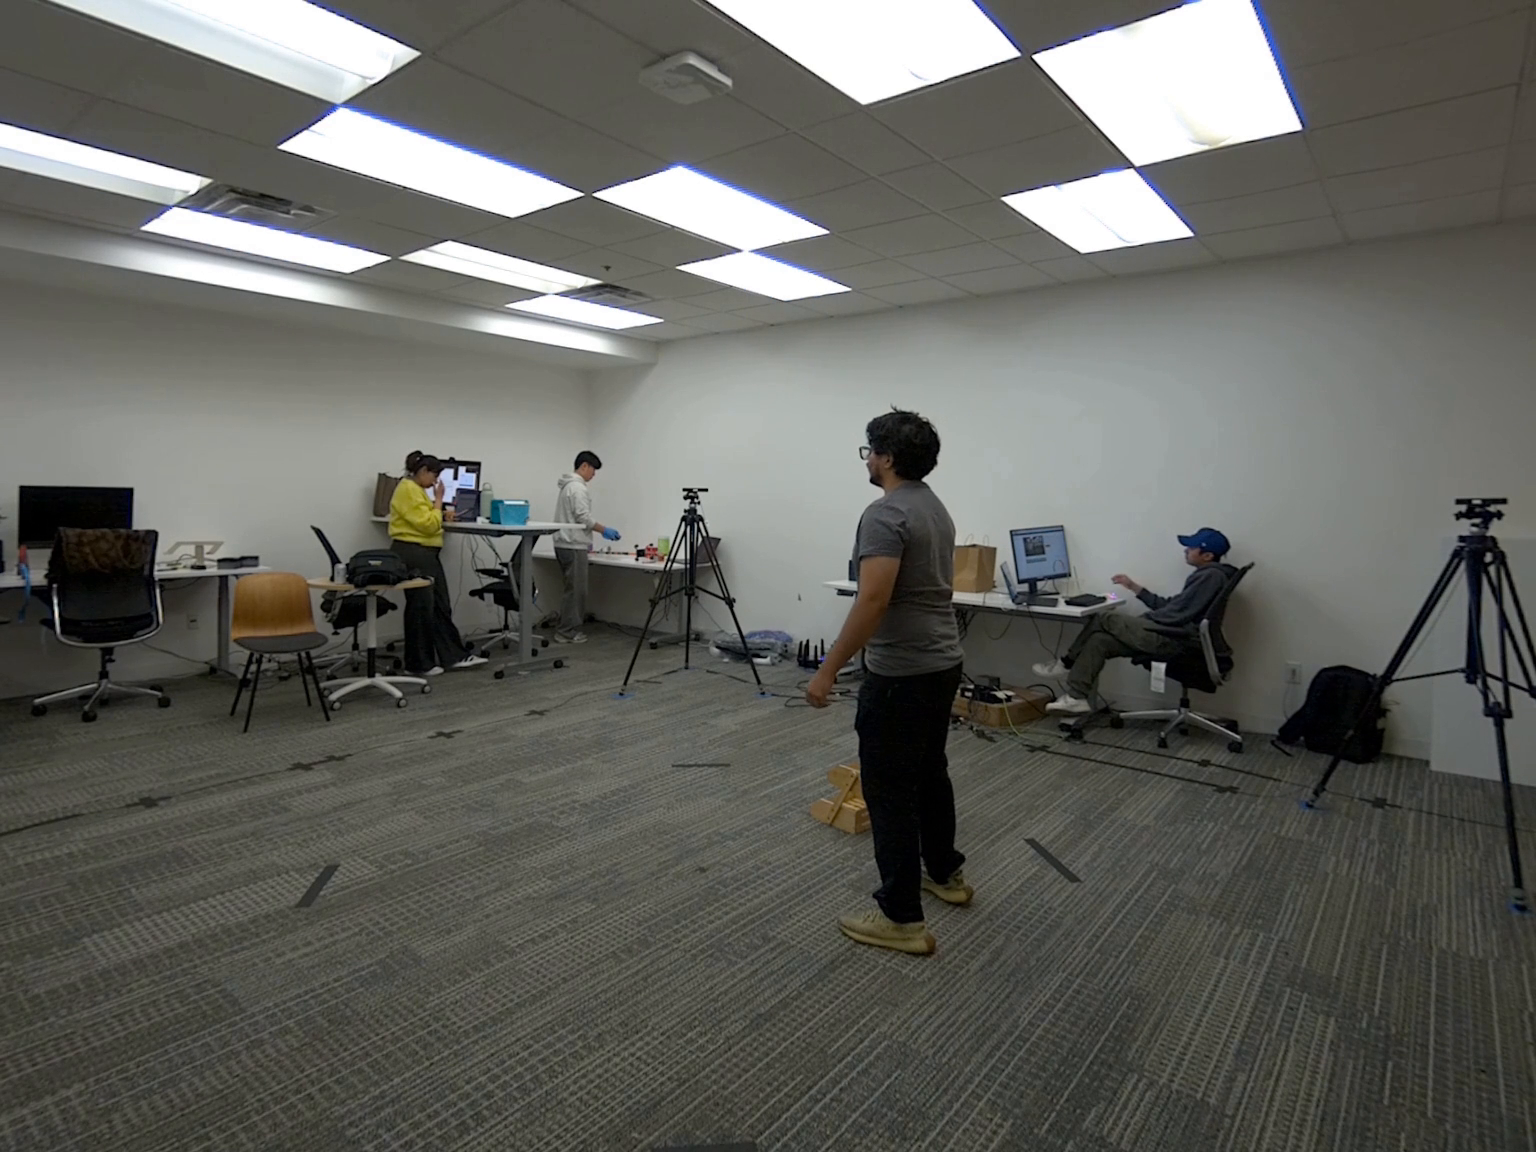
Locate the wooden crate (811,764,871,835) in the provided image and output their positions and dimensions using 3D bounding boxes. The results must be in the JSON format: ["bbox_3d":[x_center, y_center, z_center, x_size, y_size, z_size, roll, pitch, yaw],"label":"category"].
[{"bbox_3d":[0.381,0.904,3.639,0.312,0.272,0.314,6,5,44],"label":"wooden crate"}]
